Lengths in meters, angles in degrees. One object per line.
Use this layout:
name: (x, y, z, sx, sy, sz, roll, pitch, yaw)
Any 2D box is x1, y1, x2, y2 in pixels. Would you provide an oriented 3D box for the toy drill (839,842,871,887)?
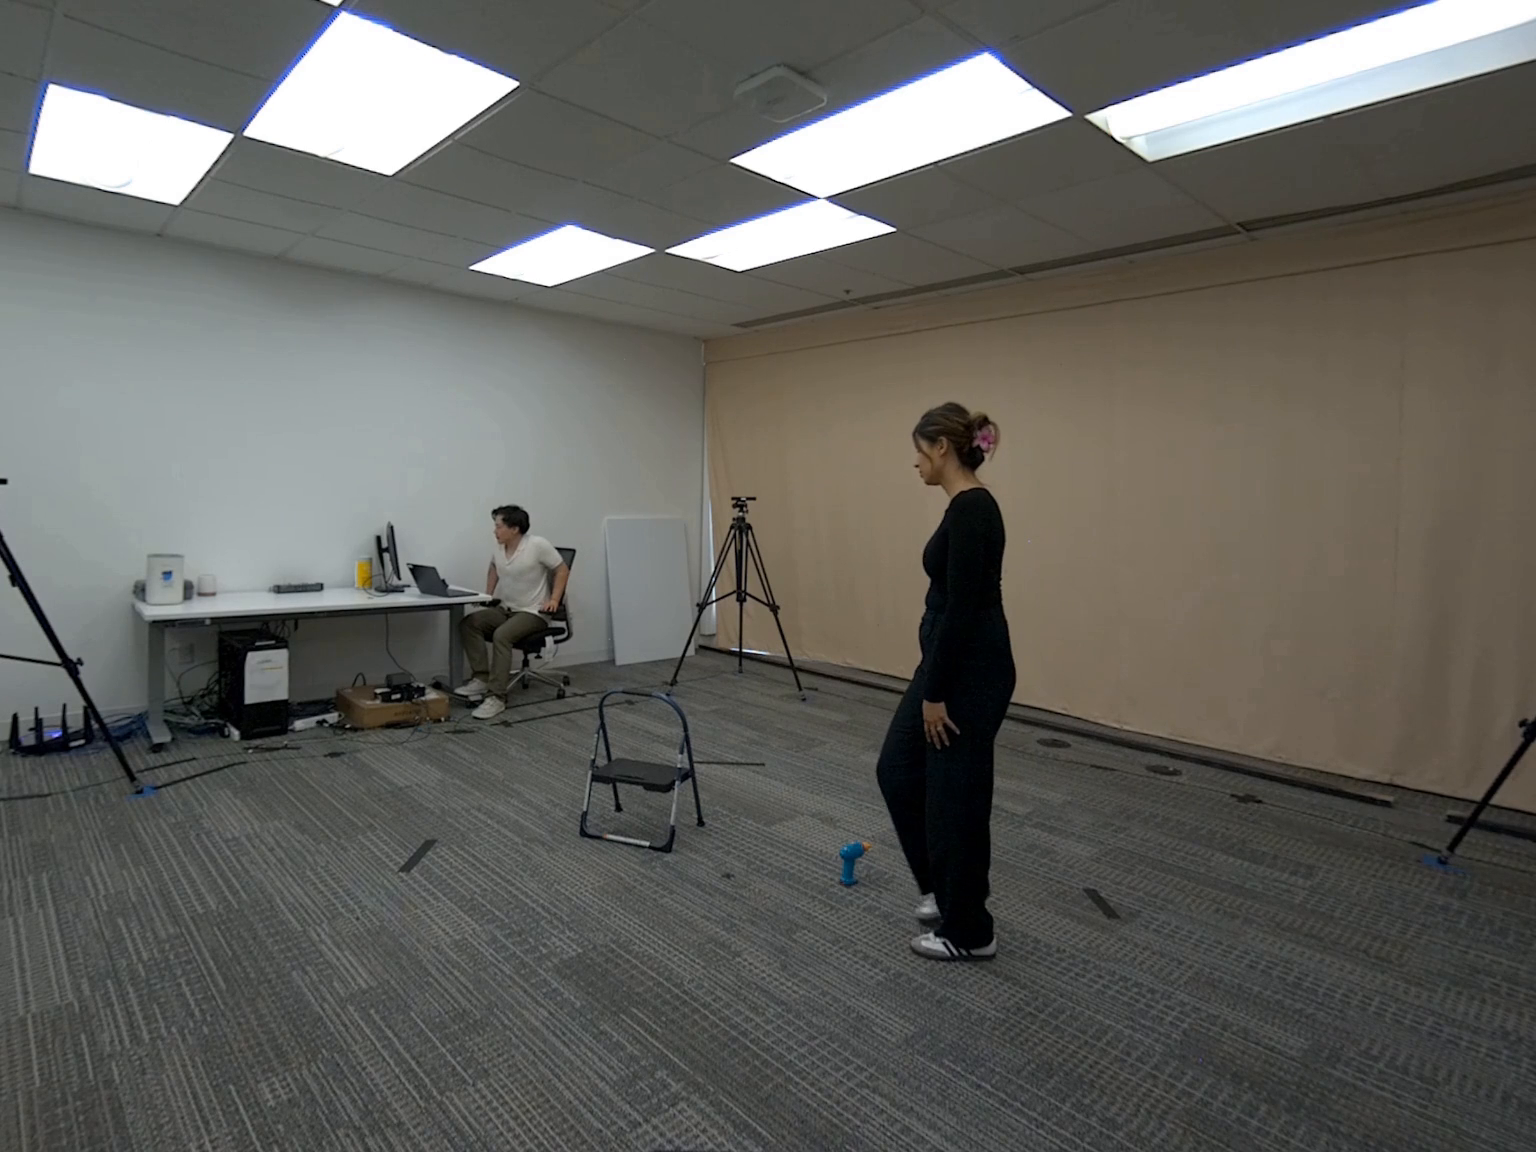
toy drill: (0.316, 1.046, 3.087, 0.166, 0.146, 0.063, -1, 4, -41)
